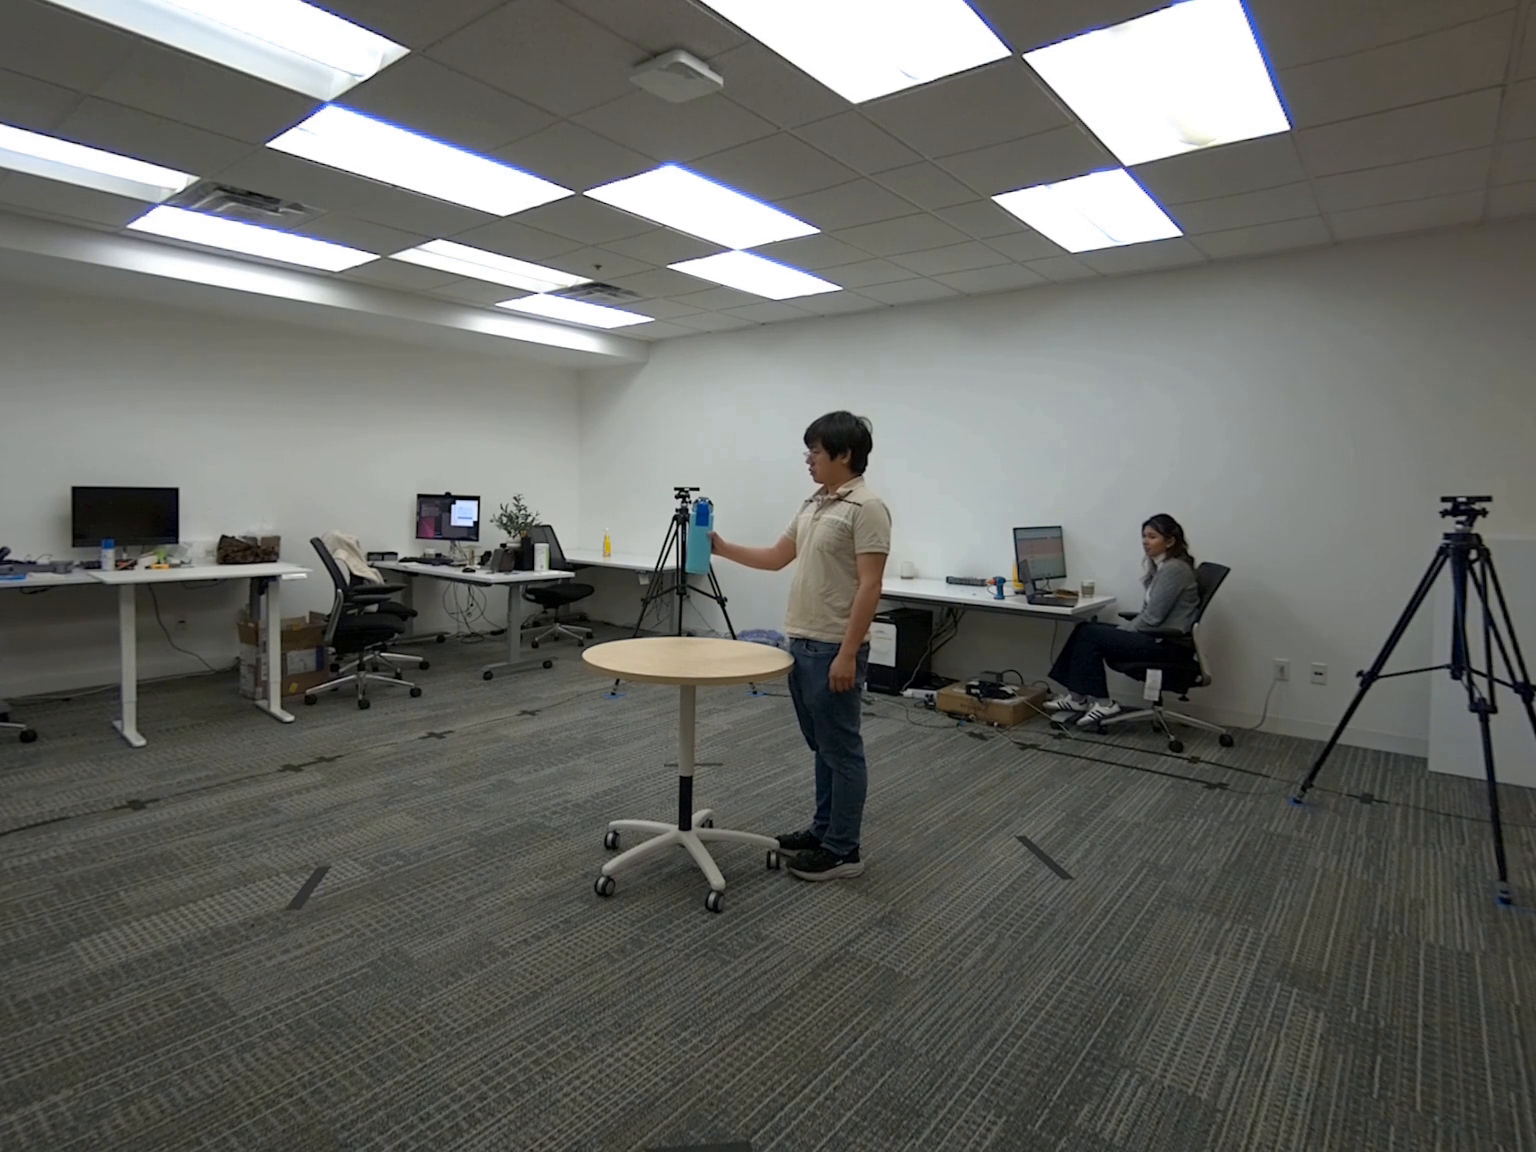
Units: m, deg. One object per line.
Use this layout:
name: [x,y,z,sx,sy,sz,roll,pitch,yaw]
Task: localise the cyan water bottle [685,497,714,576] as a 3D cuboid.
cyan water bottle: [-0.264,-0.158,3.170,0.092,0.282,0.093,5,4,-2]
